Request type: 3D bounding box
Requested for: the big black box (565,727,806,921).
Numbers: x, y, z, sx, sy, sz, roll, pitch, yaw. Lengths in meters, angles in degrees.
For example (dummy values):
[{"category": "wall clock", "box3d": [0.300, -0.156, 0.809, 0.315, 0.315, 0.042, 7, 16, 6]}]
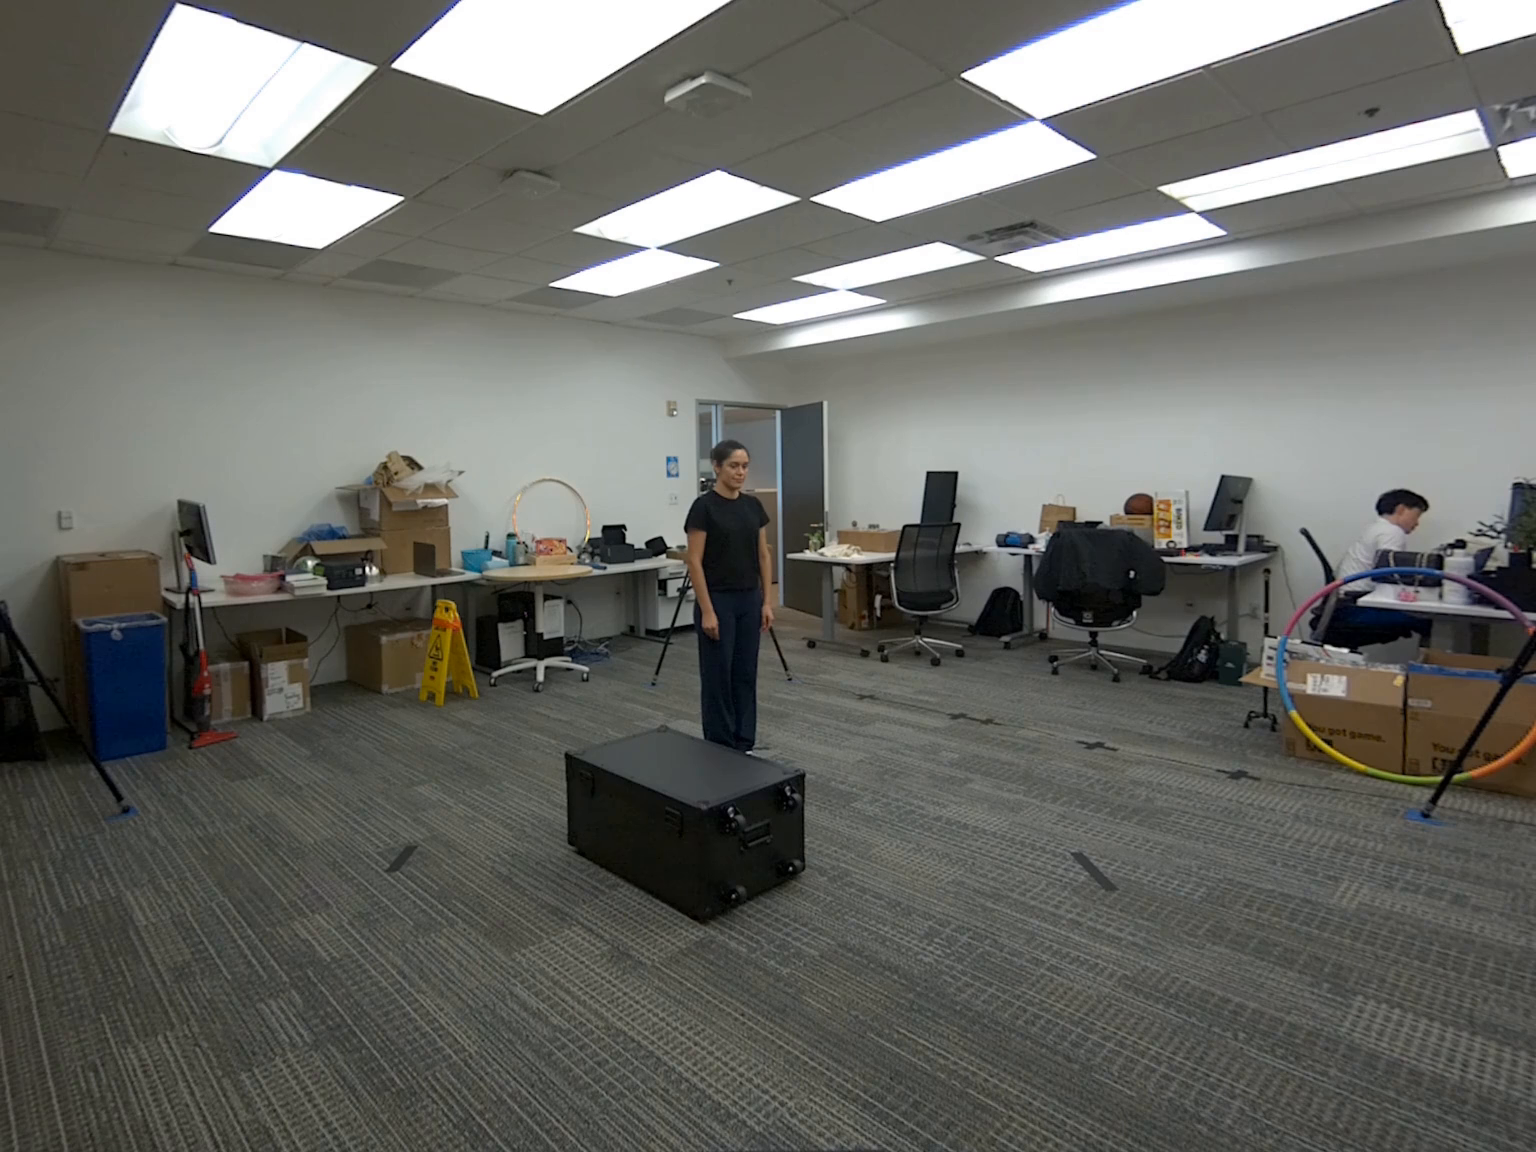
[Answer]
[{"category": "big black box", "box3d": [-0.298, 0.858, 3.094, 0.508, 0.394, 0.888, -7, 8, -44]}]
